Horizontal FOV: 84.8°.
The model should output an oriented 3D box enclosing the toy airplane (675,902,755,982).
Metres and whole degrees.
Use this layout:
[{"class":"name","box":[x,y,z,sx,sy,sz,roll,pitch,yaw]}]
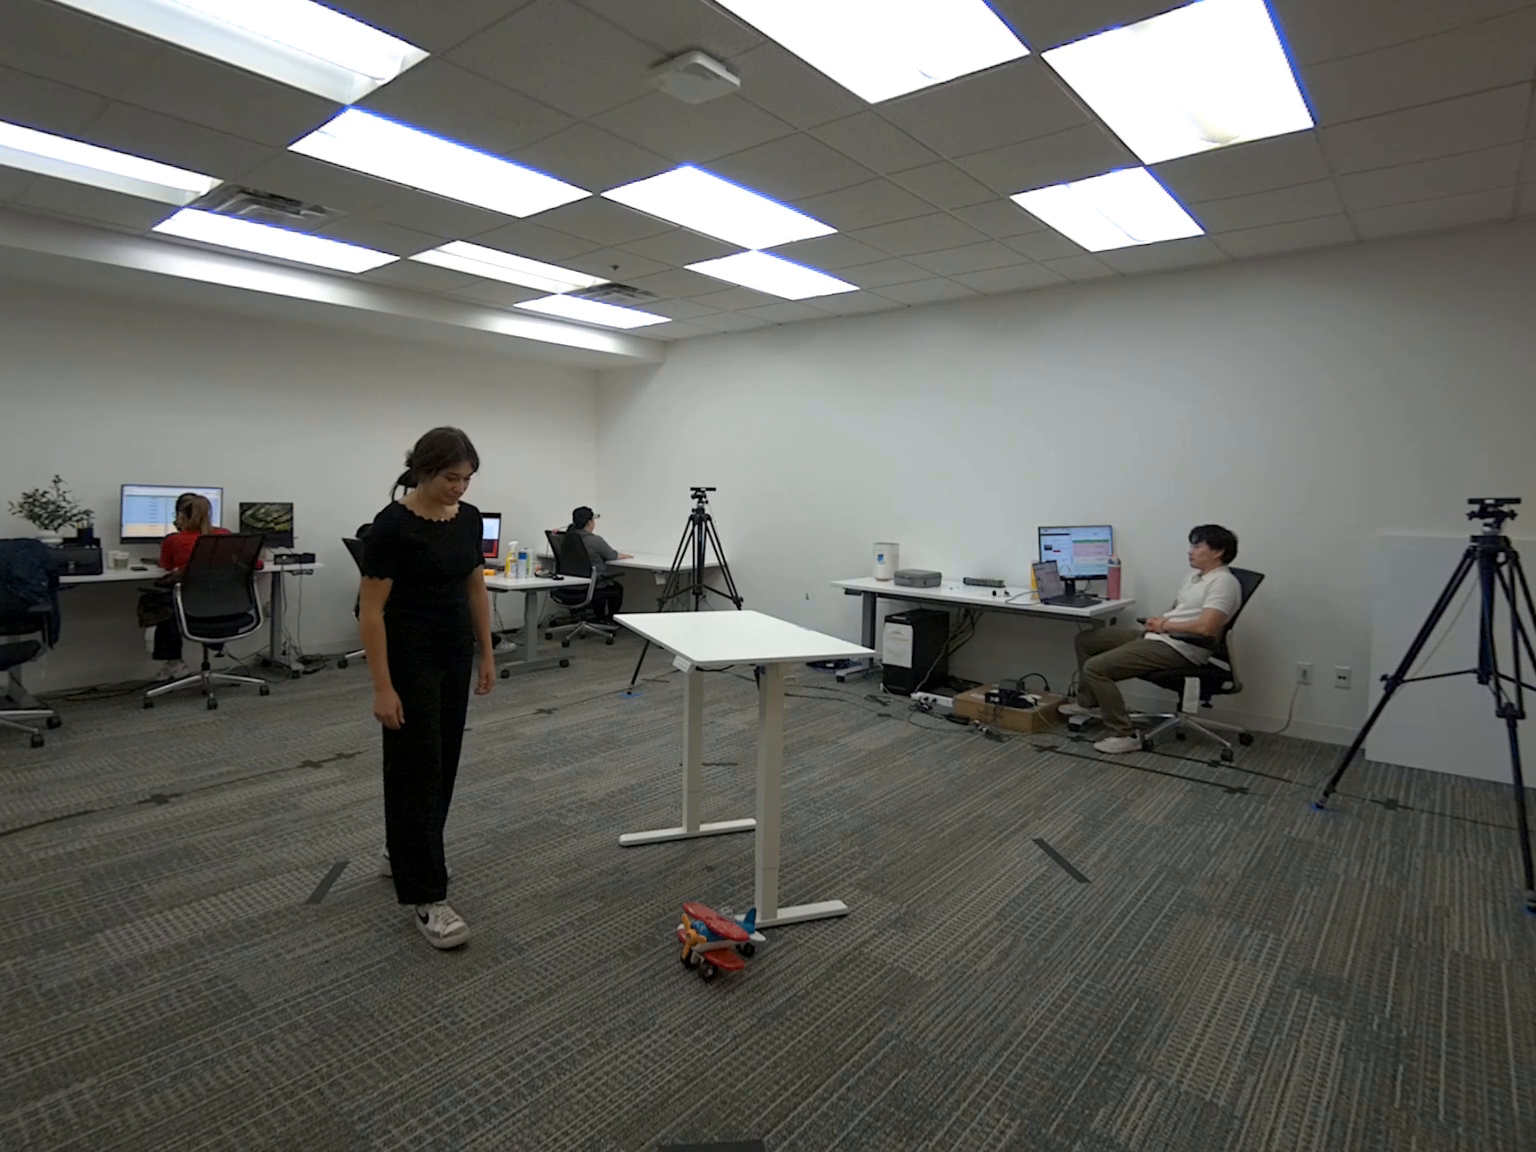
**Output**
[{"class":"toy airplane","box":[-0.154,1.053,2.502,0.257,0.156,0.255,3,7,21]}]
